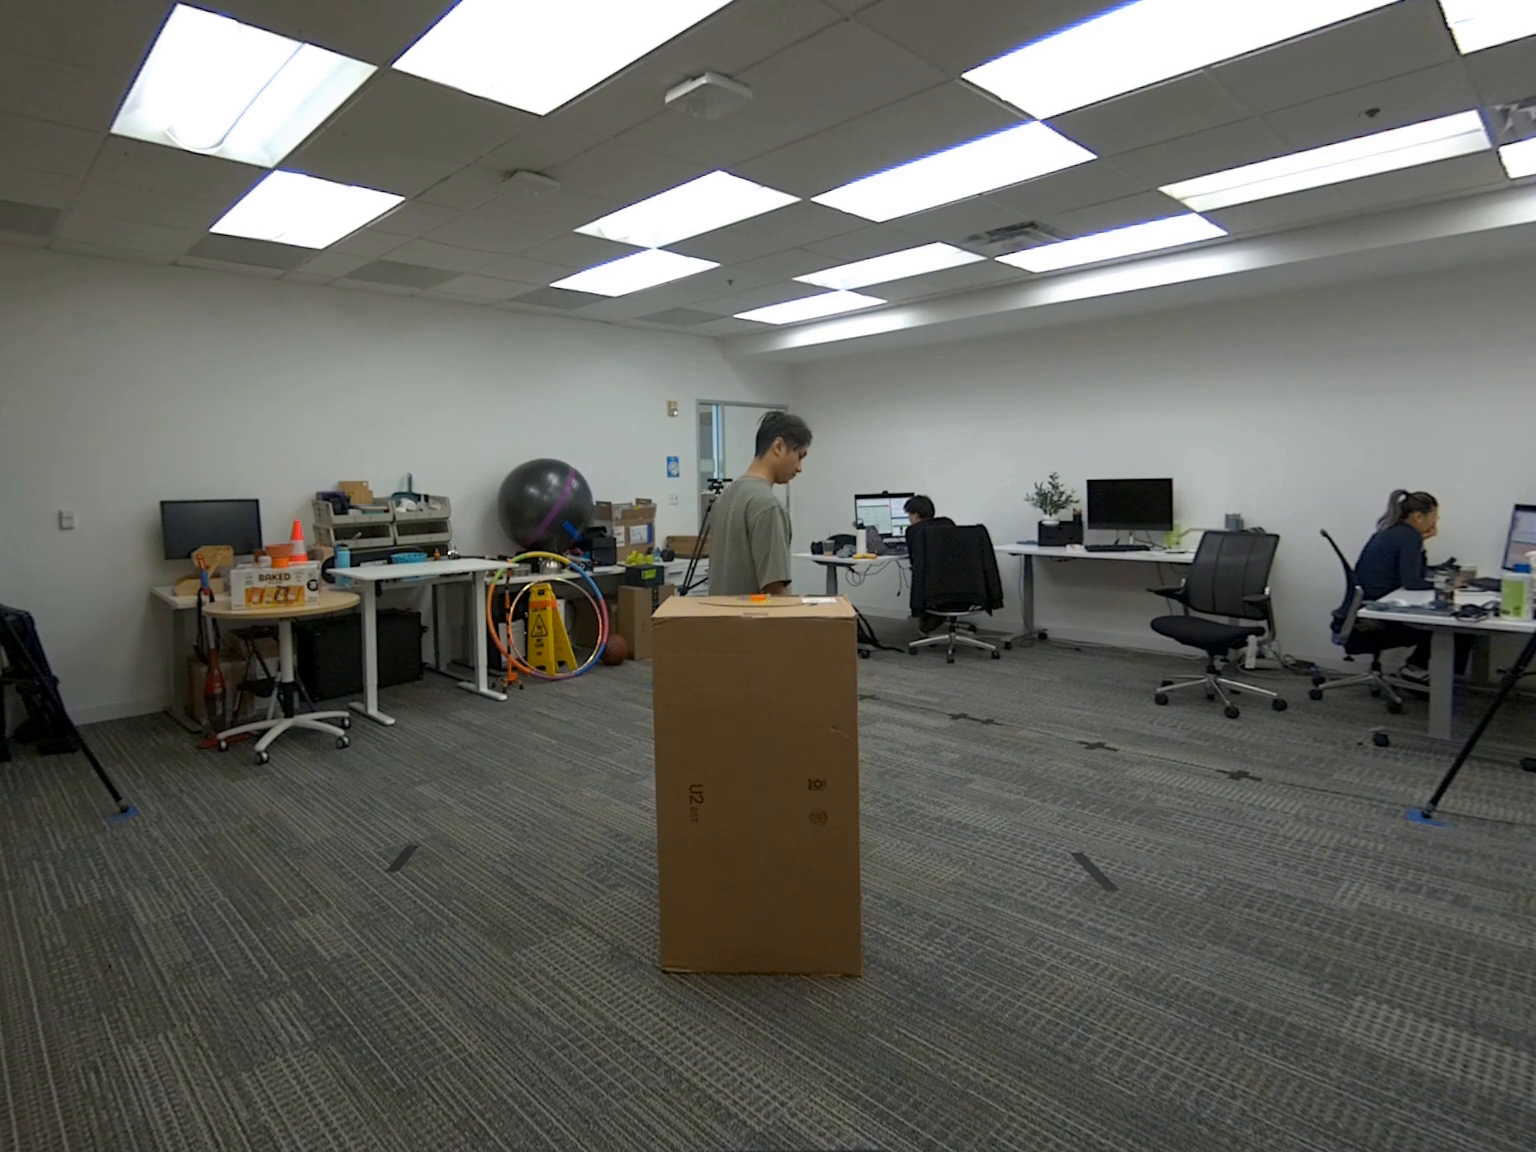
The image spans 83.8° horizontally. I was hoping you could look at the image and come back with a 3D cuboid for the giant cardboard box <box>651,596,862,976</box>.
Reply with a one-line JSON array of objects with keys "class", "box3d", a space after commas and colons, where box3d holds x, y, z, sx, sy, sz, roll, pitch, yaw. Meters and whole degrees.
[{"class": "giant cardboard box", "box3d": [-0.019, 0.595, 2.585, 0.579, 1.022, 0.427, -1, 4, 2]}]
